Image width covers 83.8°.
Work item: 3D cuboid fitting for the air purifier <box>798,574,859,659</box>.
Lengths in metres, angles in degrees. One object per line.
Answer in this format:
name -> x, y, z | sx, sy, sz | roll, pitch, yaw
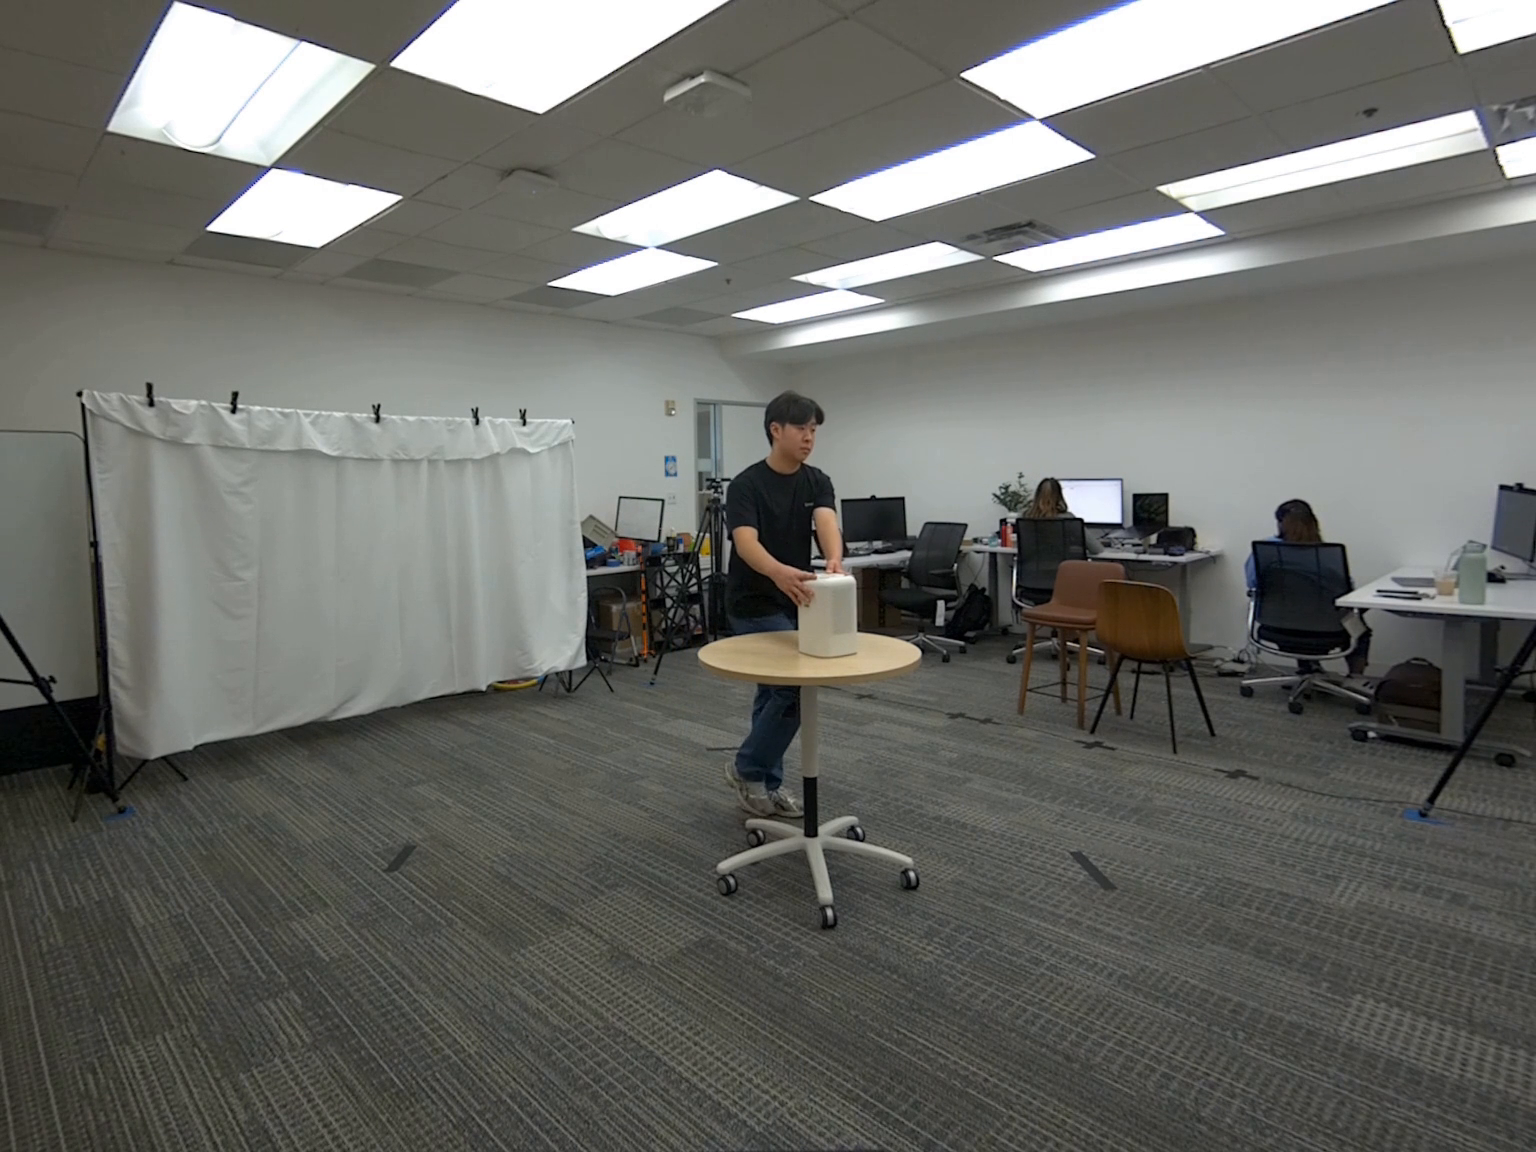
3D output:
air purifier -> 0.204, 0.135, 2.919 | 0.167, 0.264, 0.176 | -4, 6, -33
